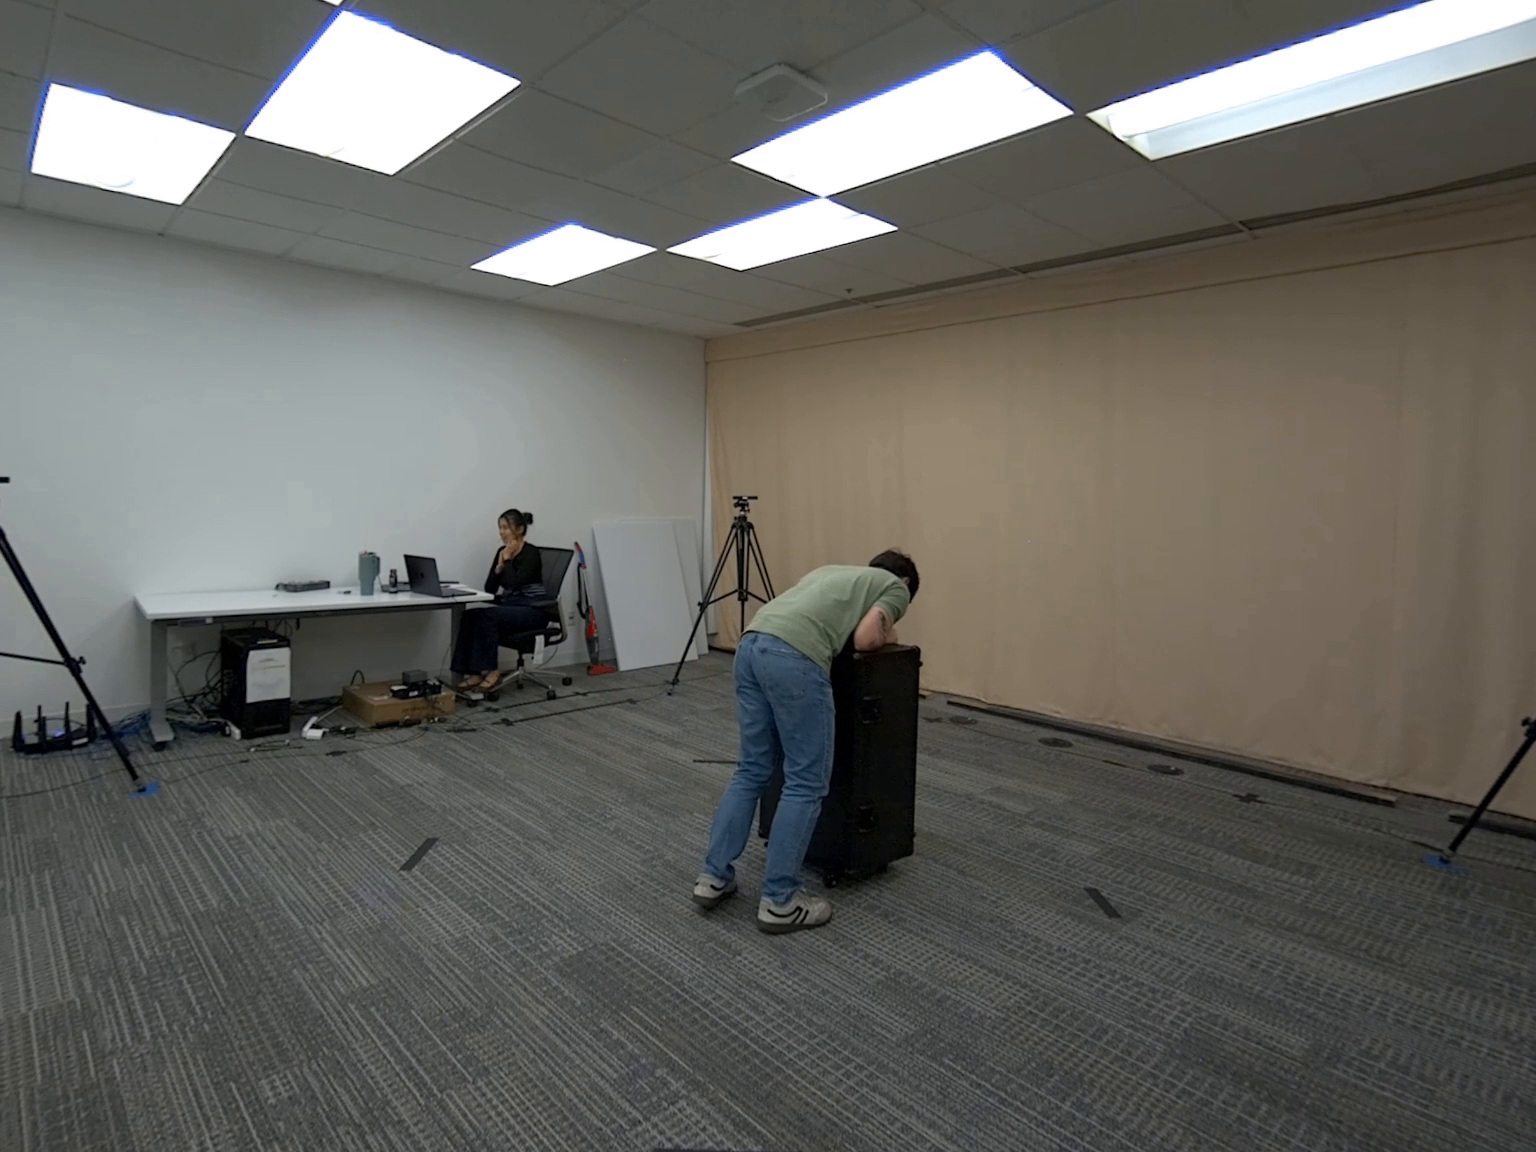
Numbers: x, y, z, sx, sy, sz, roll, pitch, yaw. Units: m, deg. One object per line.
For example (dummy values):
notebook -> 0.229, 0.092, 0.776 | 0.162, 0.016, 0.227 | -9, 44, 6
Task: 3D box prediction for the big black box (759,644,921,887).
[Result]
big black box -> 0.262, 0.682, 3.224 | 0.387, 0.860, 0.534 | 0, 3, -41
